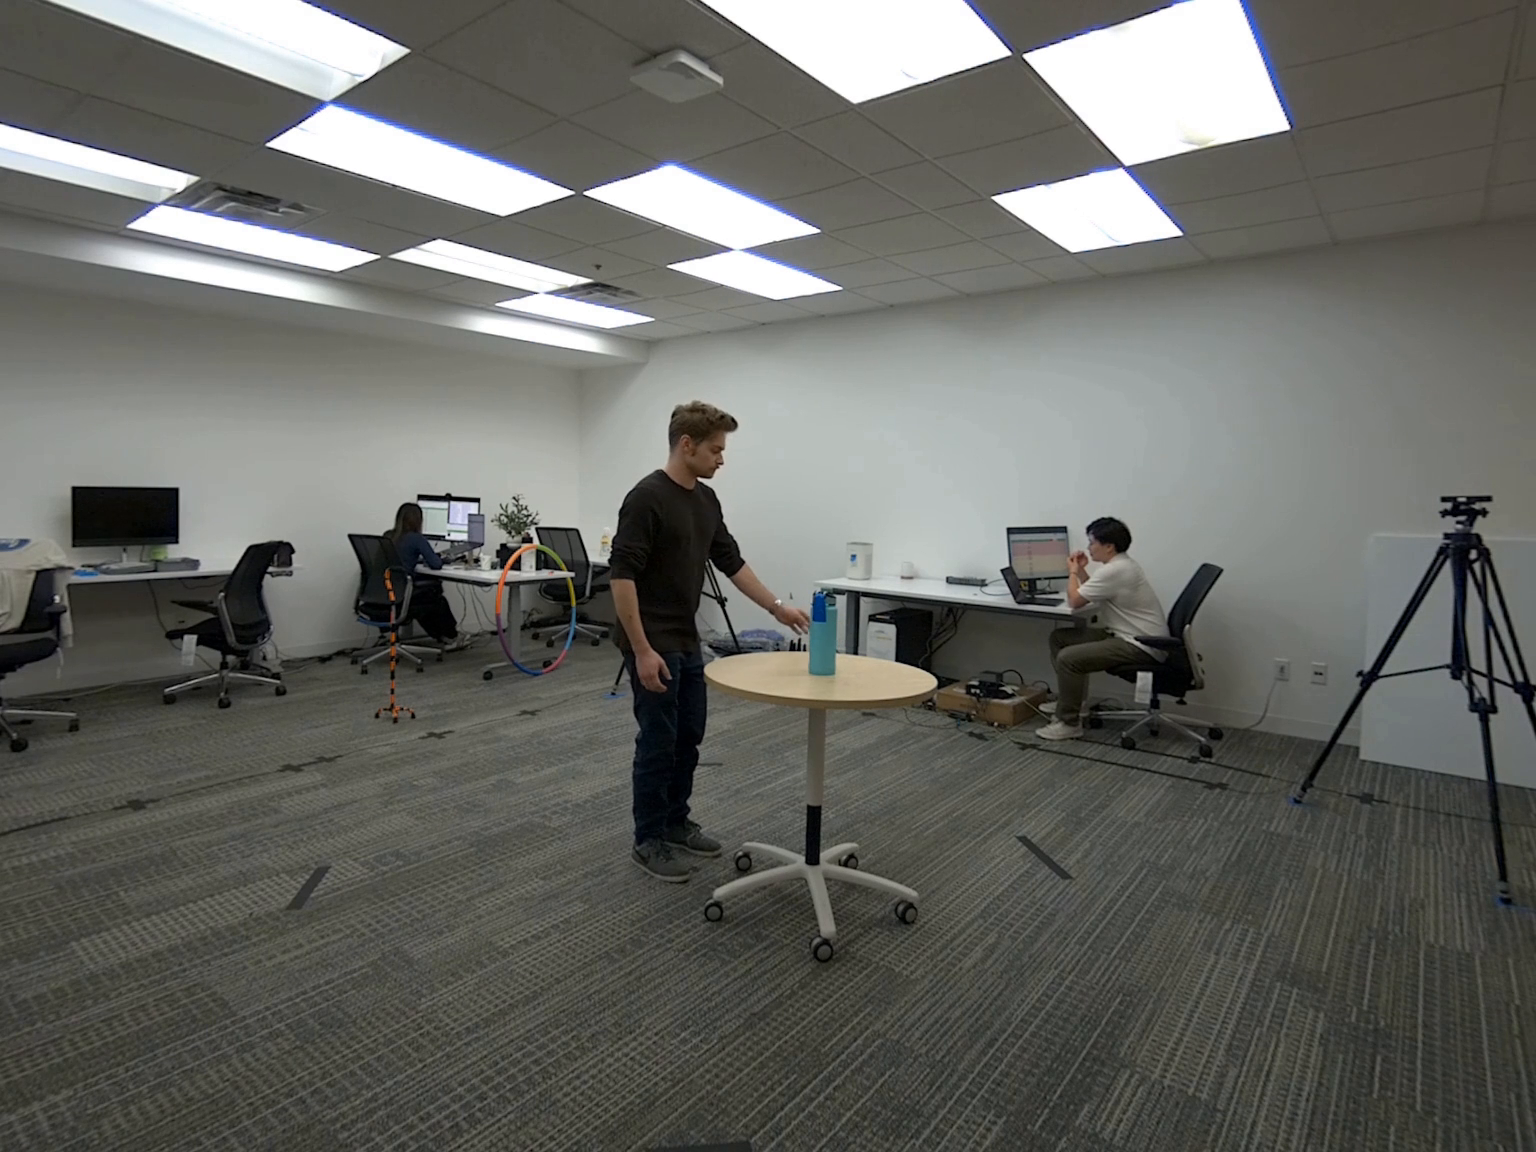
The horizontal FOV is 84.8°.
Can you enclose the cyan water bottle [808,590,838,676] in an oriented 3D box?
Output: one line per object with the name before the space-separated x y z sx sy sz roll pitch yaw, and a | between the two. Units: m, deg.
cyan water bottle | 0.182 0.182 2.819 0.092 0.282 0.093 1 3 -2
